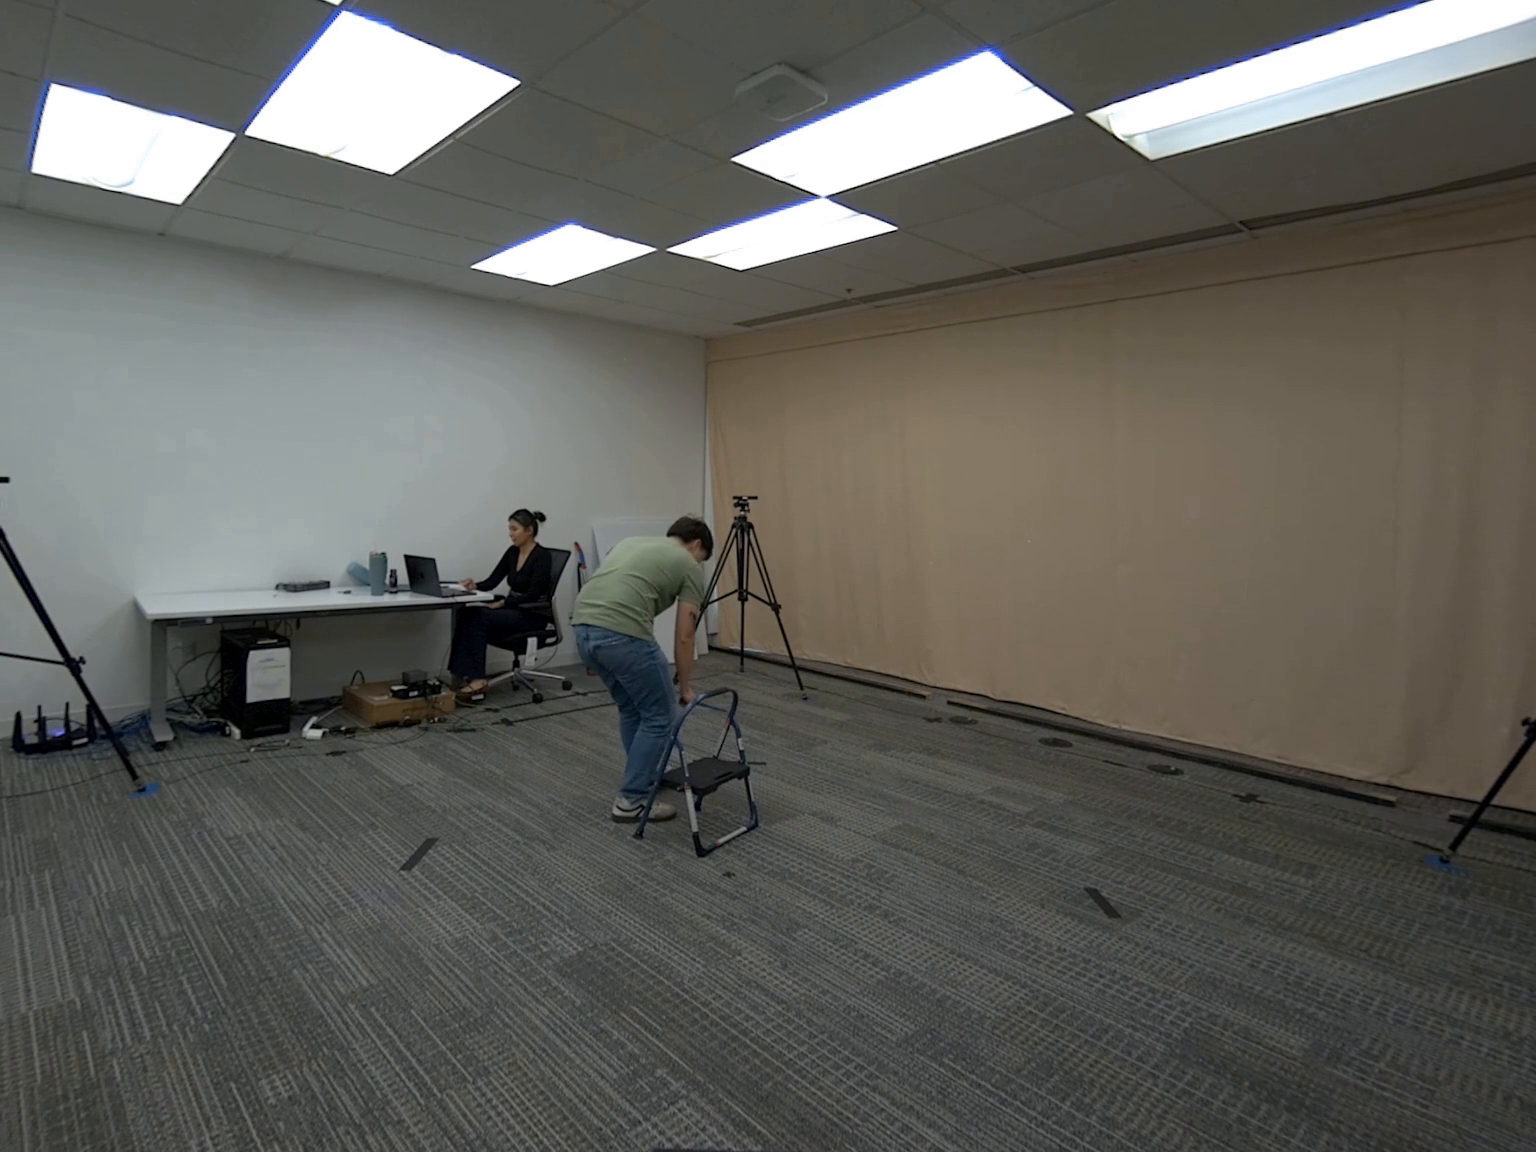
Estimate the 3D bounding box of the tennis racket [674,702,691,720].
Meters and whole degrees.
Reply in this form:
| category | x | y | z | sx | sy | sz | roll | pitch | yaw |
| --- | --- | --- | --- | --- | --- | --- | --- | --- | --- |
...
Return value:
| category | x | y | z | sx | sy | sz | roll | pitch | yaw |
| --- | --- | --- | --- | --- | --- | --- | --- | --- | --- |
| tennis racket | -0.309 | 0.622 | 3.951 | 0.217 | 0.032 | 0.424 | 13 | -5 | 19 |
